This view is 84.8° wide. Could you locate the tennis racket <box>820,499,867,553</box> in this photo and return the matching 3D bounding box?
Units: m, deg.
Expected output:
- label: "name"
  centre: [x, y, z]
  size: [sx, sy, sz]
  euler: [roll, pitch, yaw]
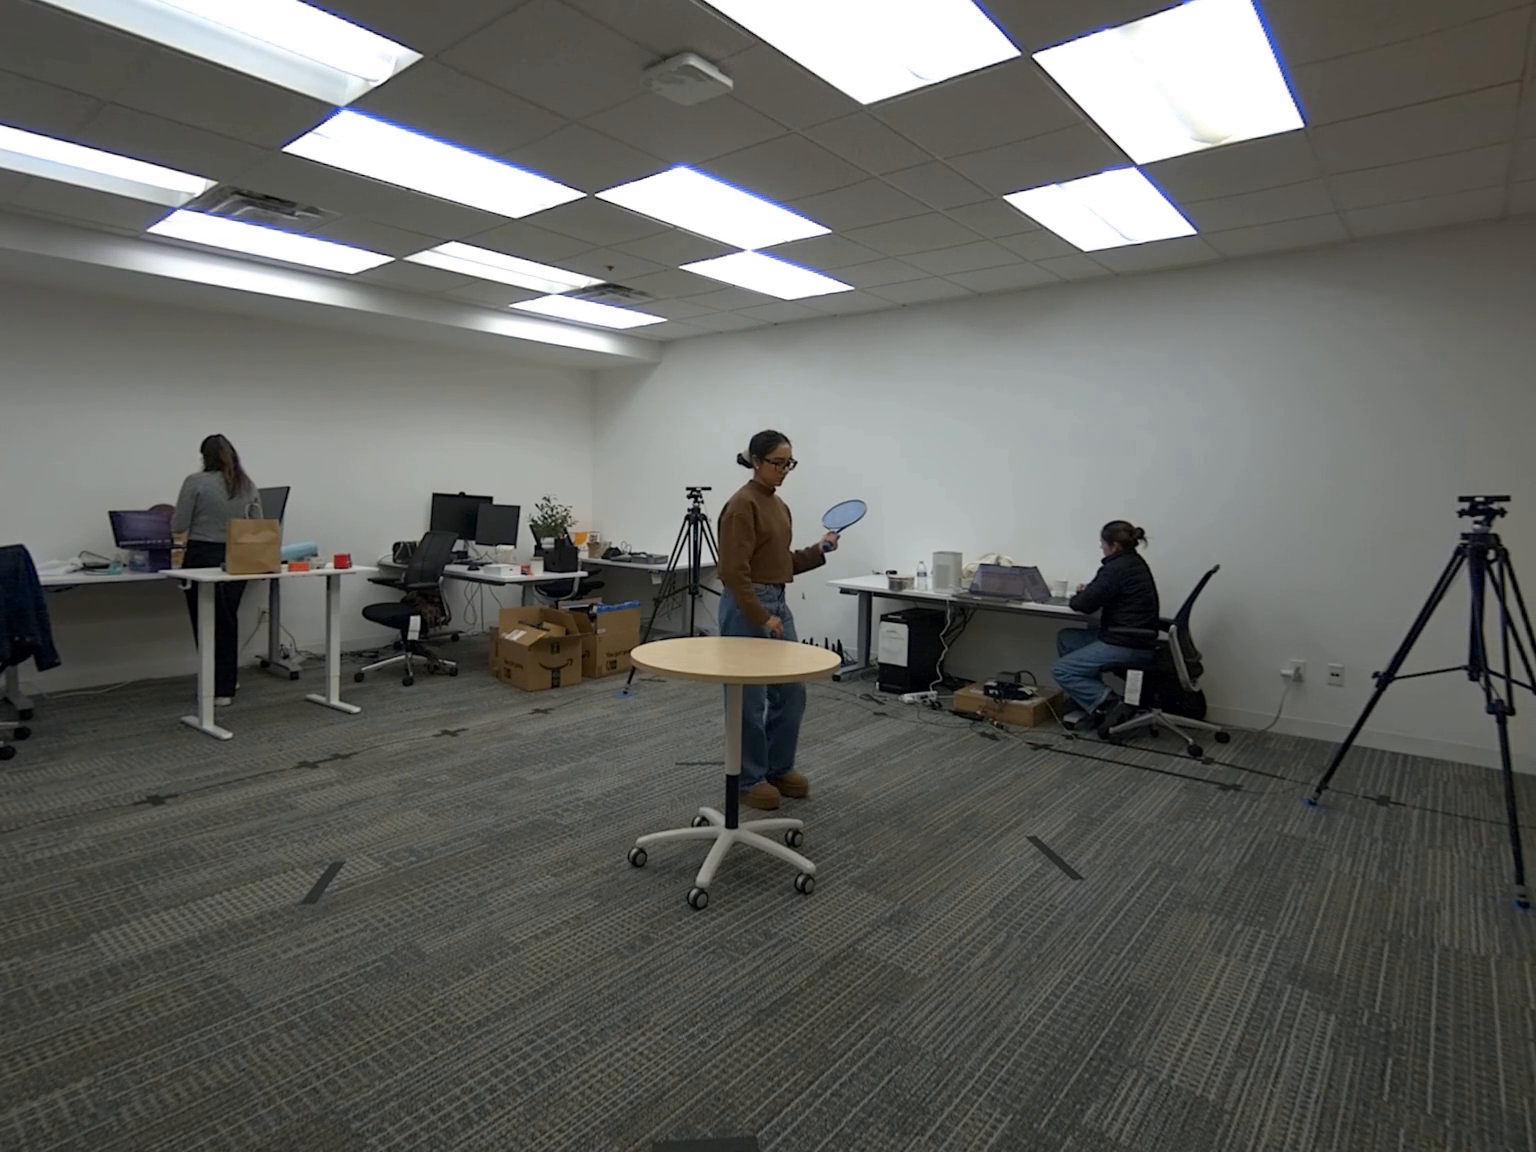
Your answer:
- label: "tennis racket"
  centre: [0.329, -0.247, 3.938]
  size: [0.219, 0.031, 0.436]
  euler: [-6, 33, 28]
